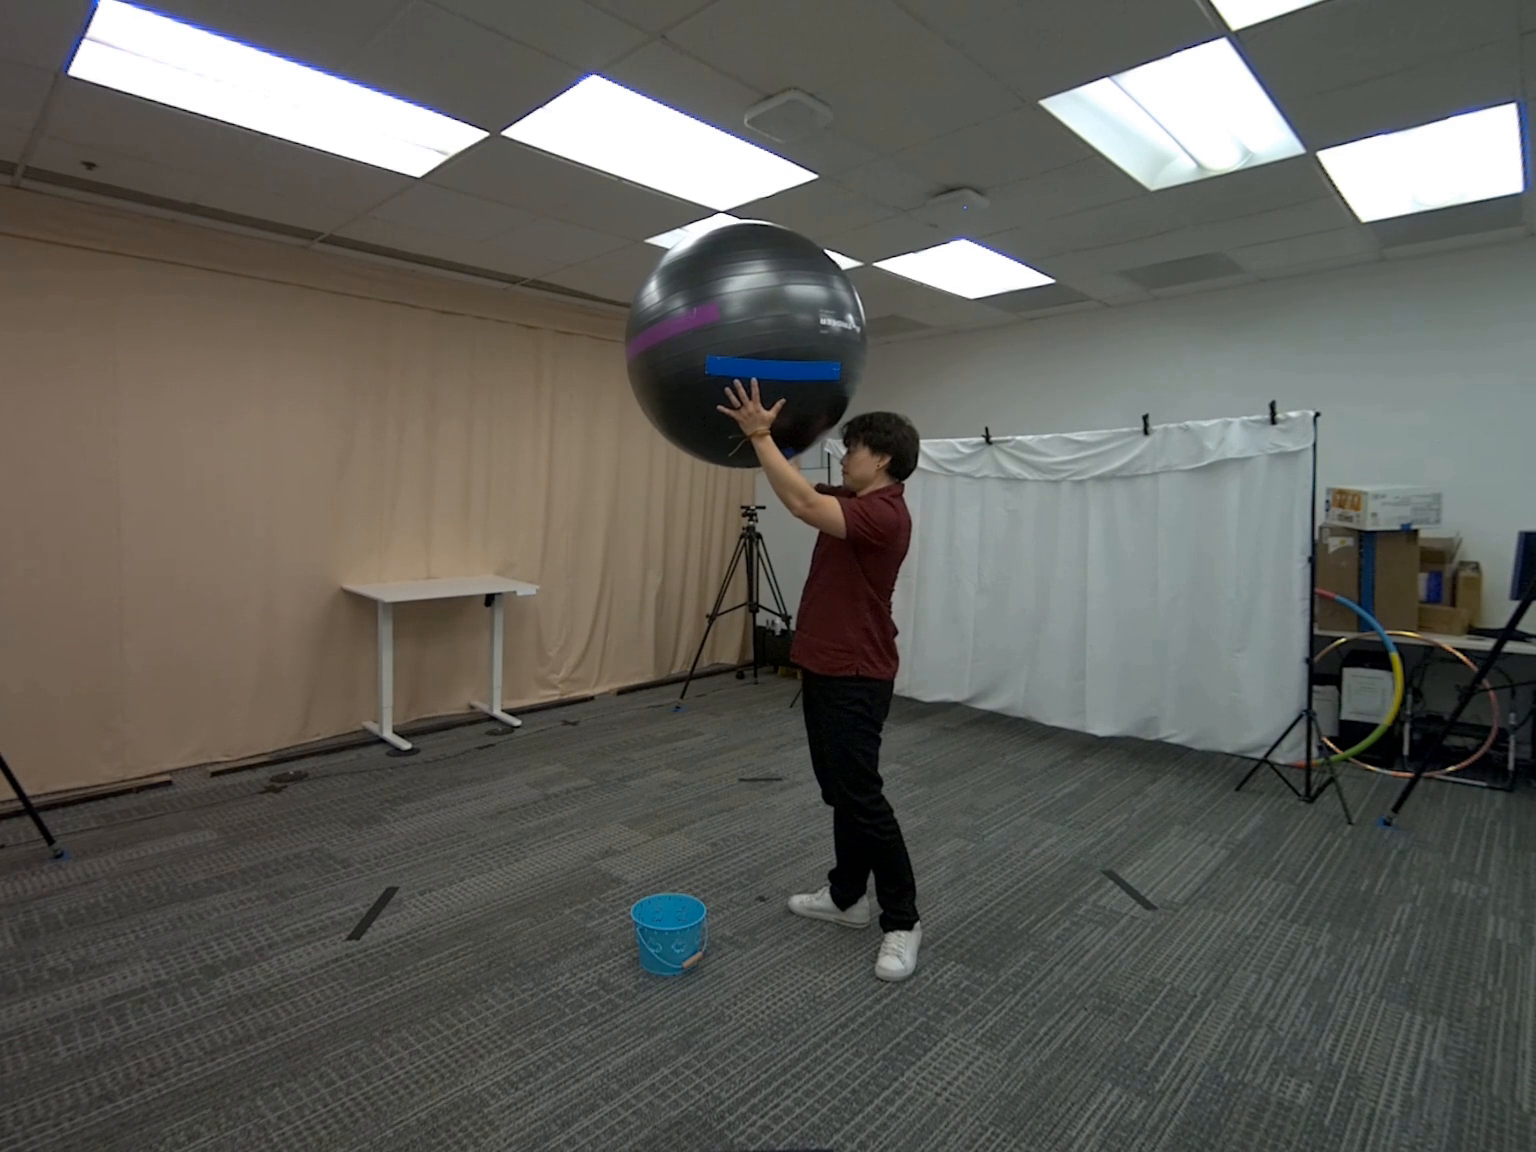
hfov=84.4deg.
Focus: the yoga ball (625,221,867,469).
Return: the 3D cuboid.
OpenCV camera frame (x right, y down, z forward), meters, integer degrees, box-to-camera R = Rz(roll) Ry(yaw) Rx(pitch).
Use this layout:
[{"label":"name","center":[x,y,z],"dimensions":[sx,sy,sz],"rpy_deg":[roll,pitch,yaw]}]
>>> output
[{"label":"yoga ball","center":[-0.071,-0.721,2.668],"dimensions":[0.757,0.756,0.760],"rpy_deg":[0,4,-2]}]
